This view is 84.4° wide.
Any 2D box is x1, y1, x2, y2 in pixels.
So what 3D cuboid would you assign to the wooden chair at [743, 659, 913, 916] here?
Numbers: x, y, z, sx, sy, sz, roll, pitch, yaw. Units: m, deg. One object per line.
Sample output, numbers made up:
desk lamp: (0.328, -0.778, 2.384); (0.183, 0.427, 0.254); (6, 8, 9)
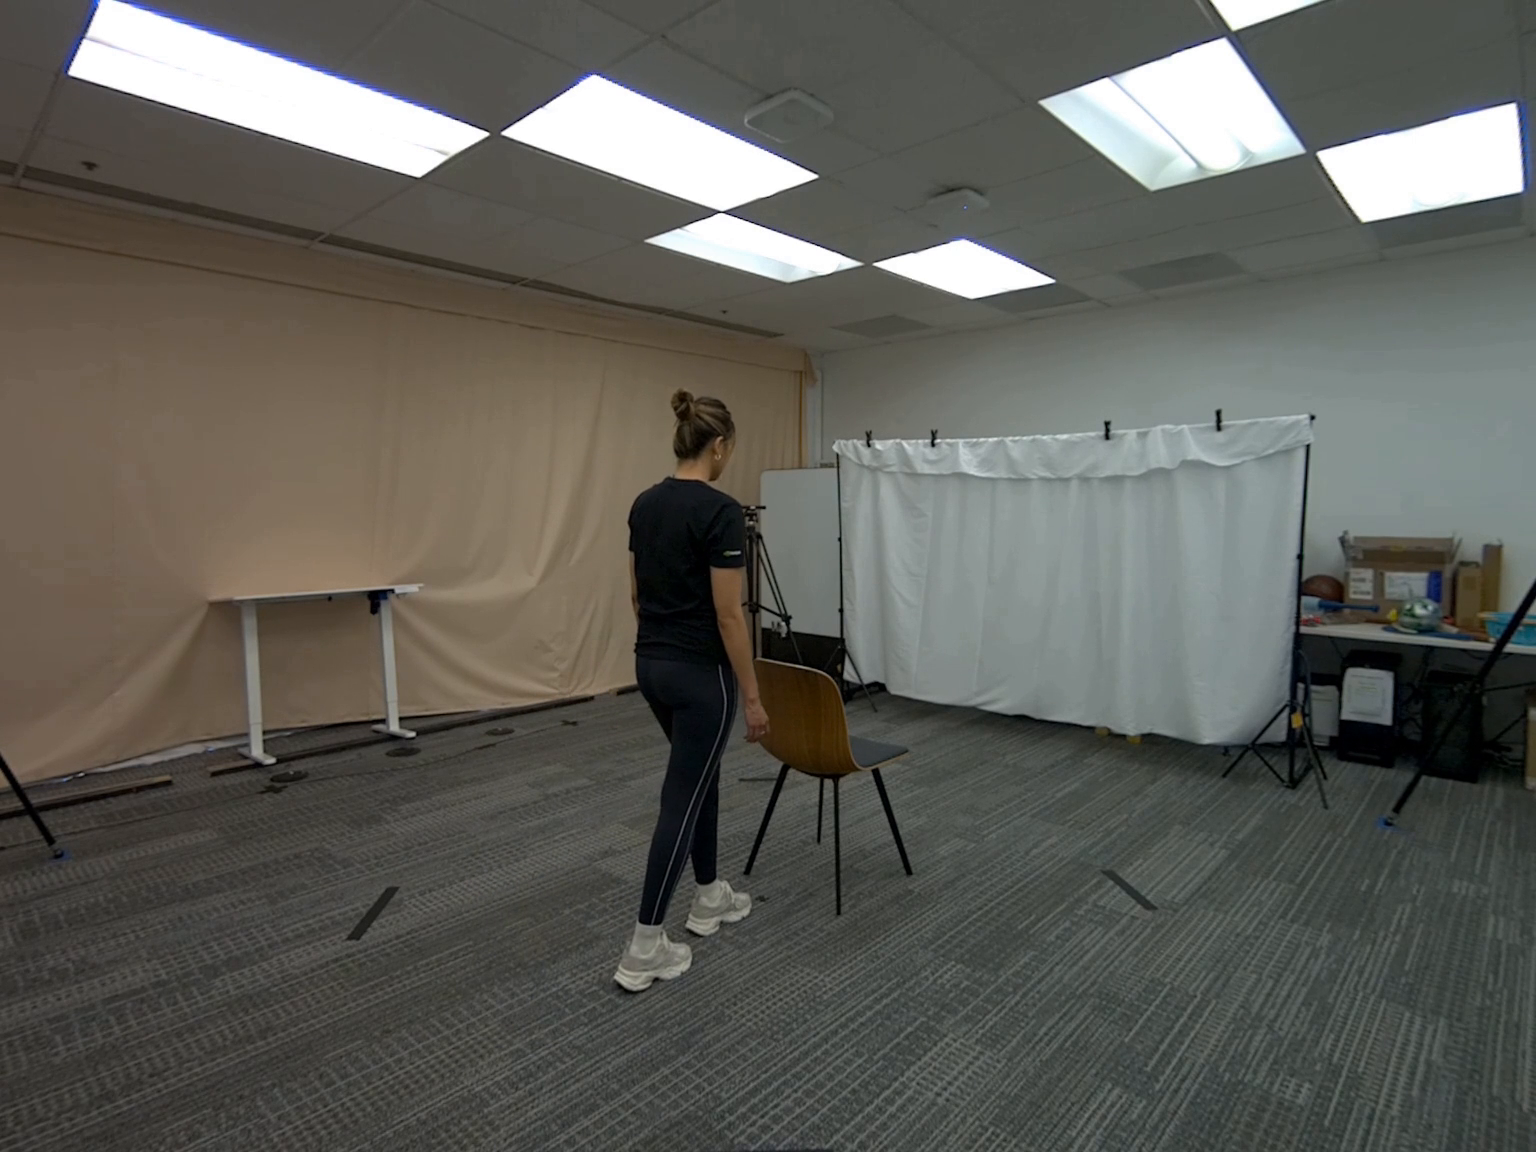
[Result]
wooden chair: (0.233, 0.701, 3.152); (0.494, 0.873, 0.508); (3, 9, 44)
